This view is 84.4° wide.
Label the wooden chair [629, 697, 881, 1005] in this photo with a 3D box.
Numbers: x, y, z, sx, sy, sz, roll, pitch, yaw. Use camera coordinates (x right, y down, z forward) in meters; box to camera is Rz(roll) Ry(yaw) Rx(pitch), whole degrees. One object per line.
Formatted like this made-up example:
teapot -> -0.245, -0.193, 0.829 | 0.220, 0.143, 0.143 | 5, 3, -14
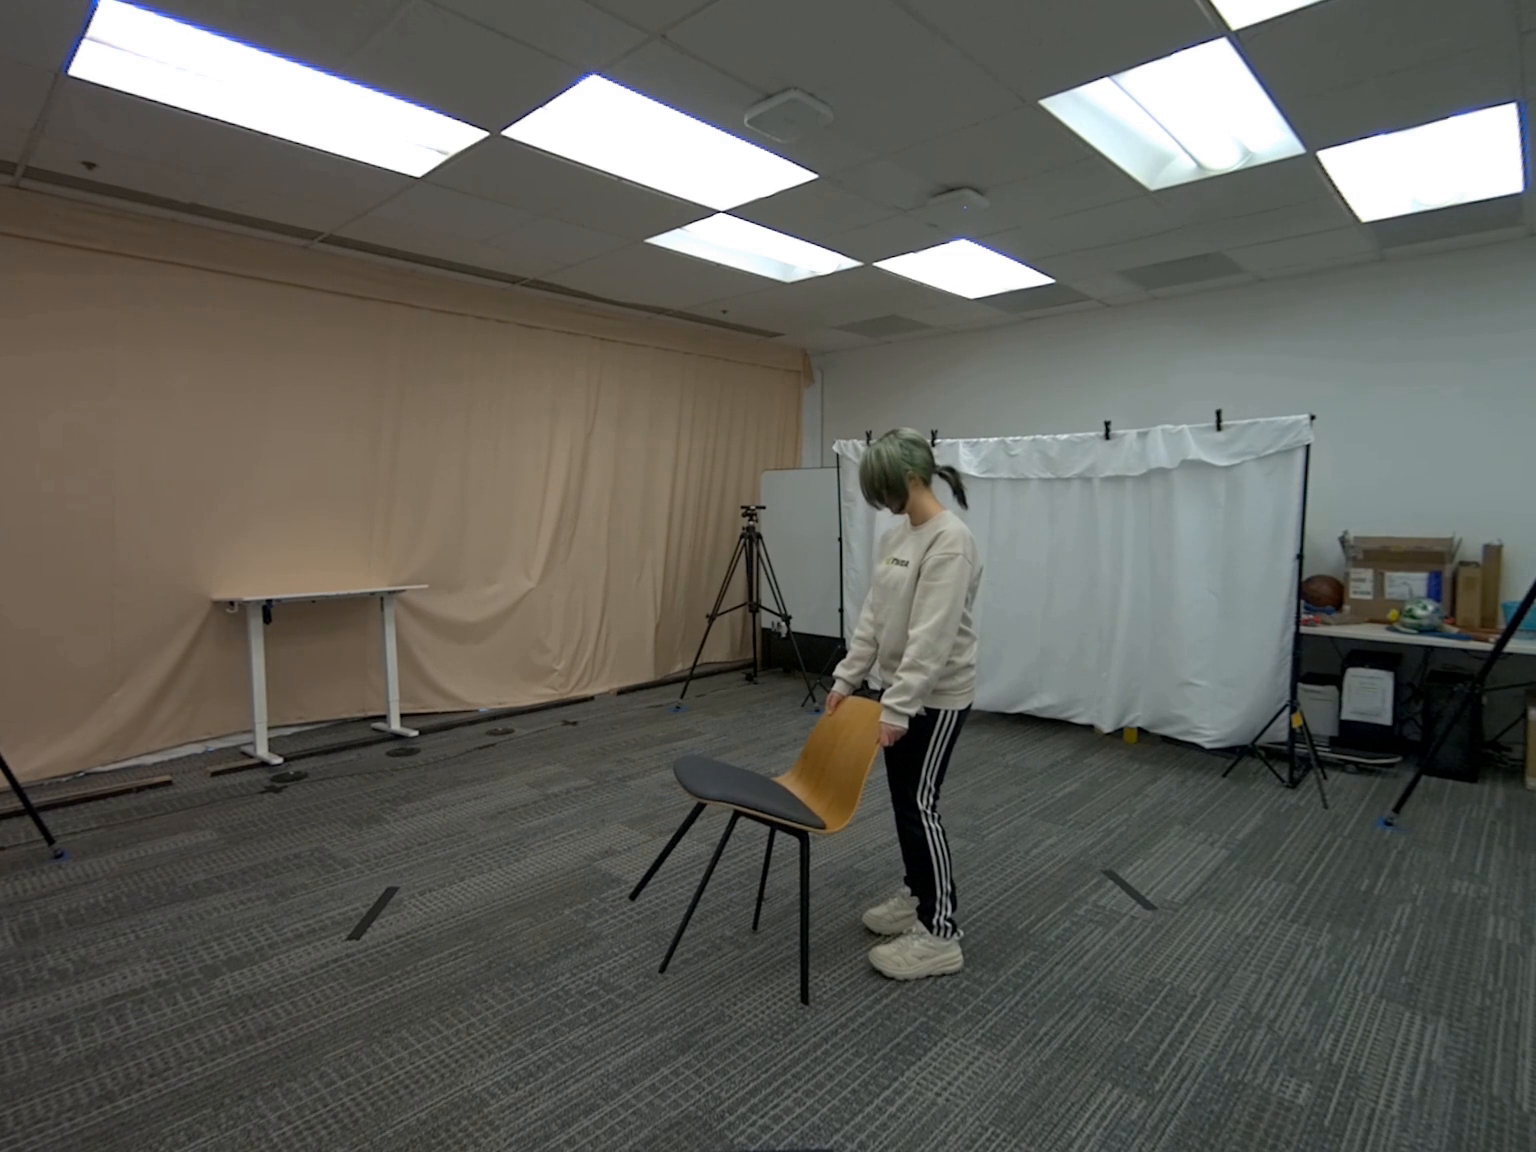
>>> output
wooden chair -> -0.027, 0.705, 2.508 | 0.512, 0.877, 0.488 | 25, -3, -18
